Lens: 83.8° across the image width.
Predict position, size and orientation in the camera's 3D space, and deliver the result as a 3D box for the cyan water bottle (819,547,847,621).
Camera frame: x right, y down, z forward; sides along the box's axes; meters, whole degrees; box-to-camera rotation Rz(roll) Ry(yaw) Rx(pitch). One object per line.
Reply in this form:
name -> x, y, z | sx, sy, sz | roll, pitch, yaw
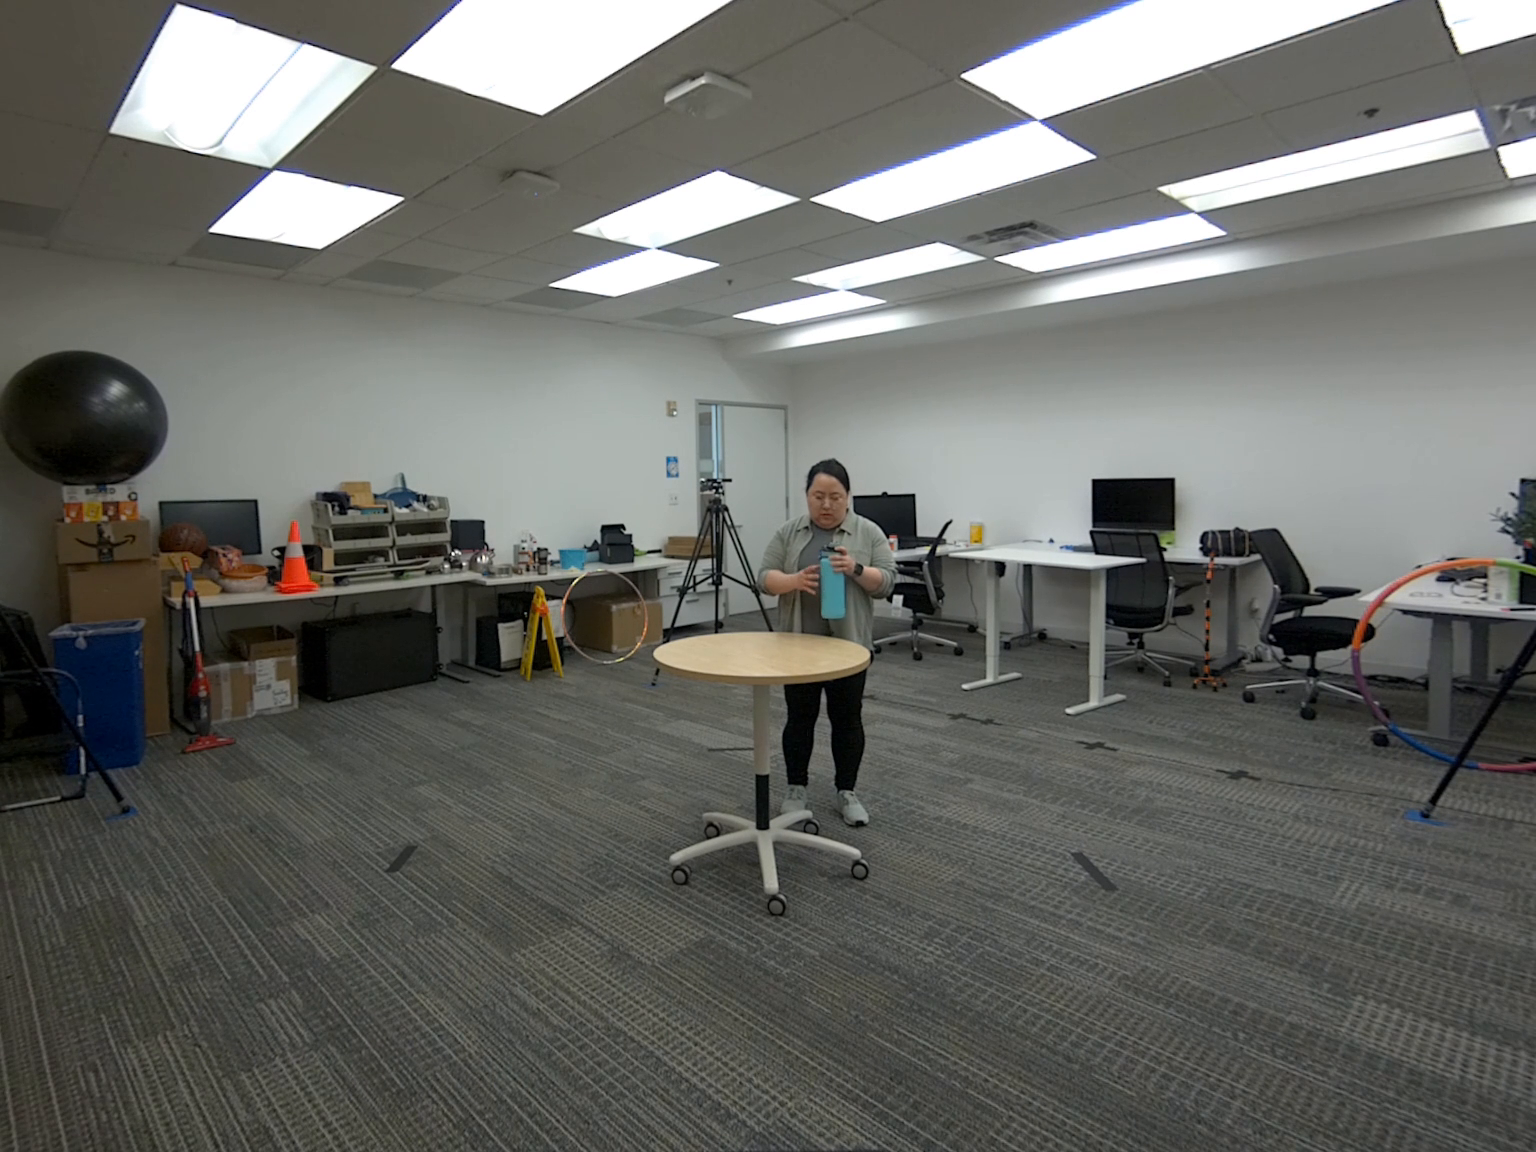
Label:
cyan water bottle -> 0.251, 0.019, 3.270 | 0.092, 0.282, 0.093 | -3, 3, -1
